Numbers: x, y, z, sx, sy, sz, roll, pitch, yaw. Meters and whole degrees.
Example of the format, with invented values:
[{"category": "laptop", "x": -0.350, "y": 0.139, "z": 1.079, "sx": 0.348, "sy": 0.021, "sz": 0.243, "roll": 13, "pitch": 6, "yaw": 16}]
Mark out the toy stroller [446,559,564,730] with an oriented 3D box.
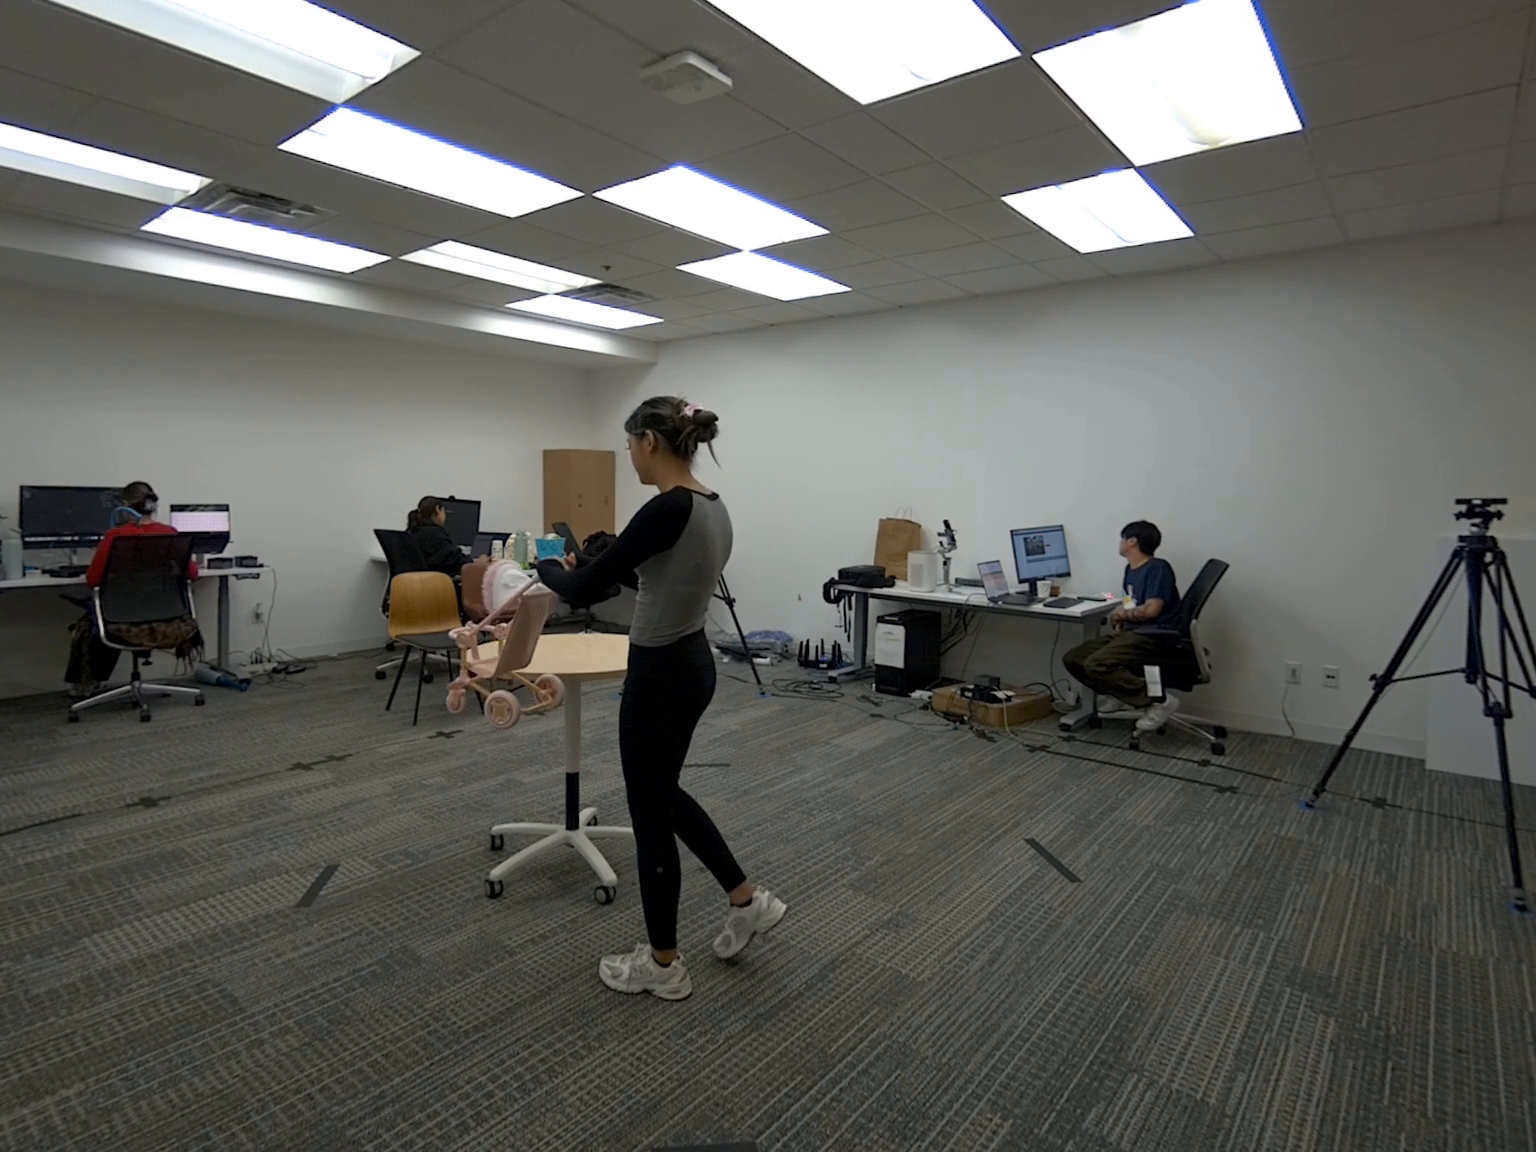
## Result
[{"category": "toy stroller", "x": -0.785, "y": 0.190, "z": 2.518, "sx": 0.351, "sy": 0.532, "sz": 0.275, "roll": 14, "pitch": 7, "yaw": 23}]
